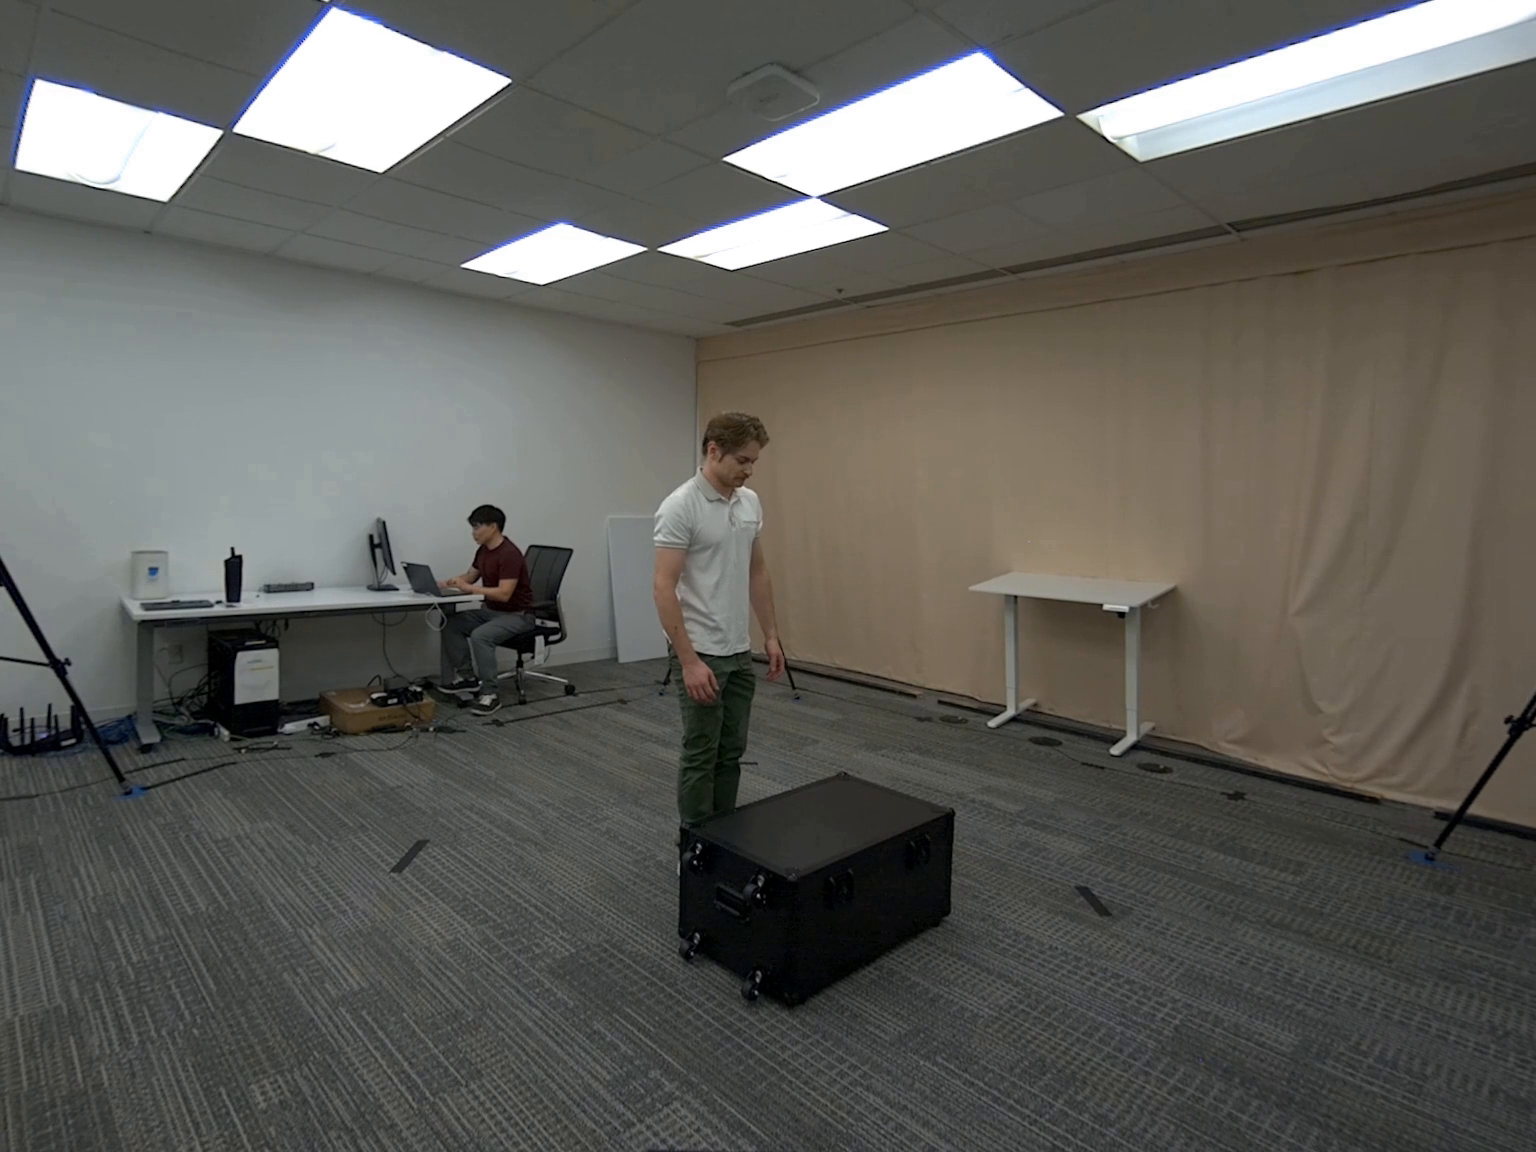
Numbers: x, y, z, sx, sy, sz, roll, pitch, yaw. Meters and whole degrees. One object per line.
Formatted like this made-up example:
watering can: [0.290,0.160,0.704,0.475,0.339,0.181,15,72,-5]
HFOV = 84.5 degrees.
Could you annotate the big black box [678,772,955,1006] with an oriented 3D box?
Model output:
big black box: [0.134,0.955,2.678,0.849,0.384,0.537,-4,8,-44]
